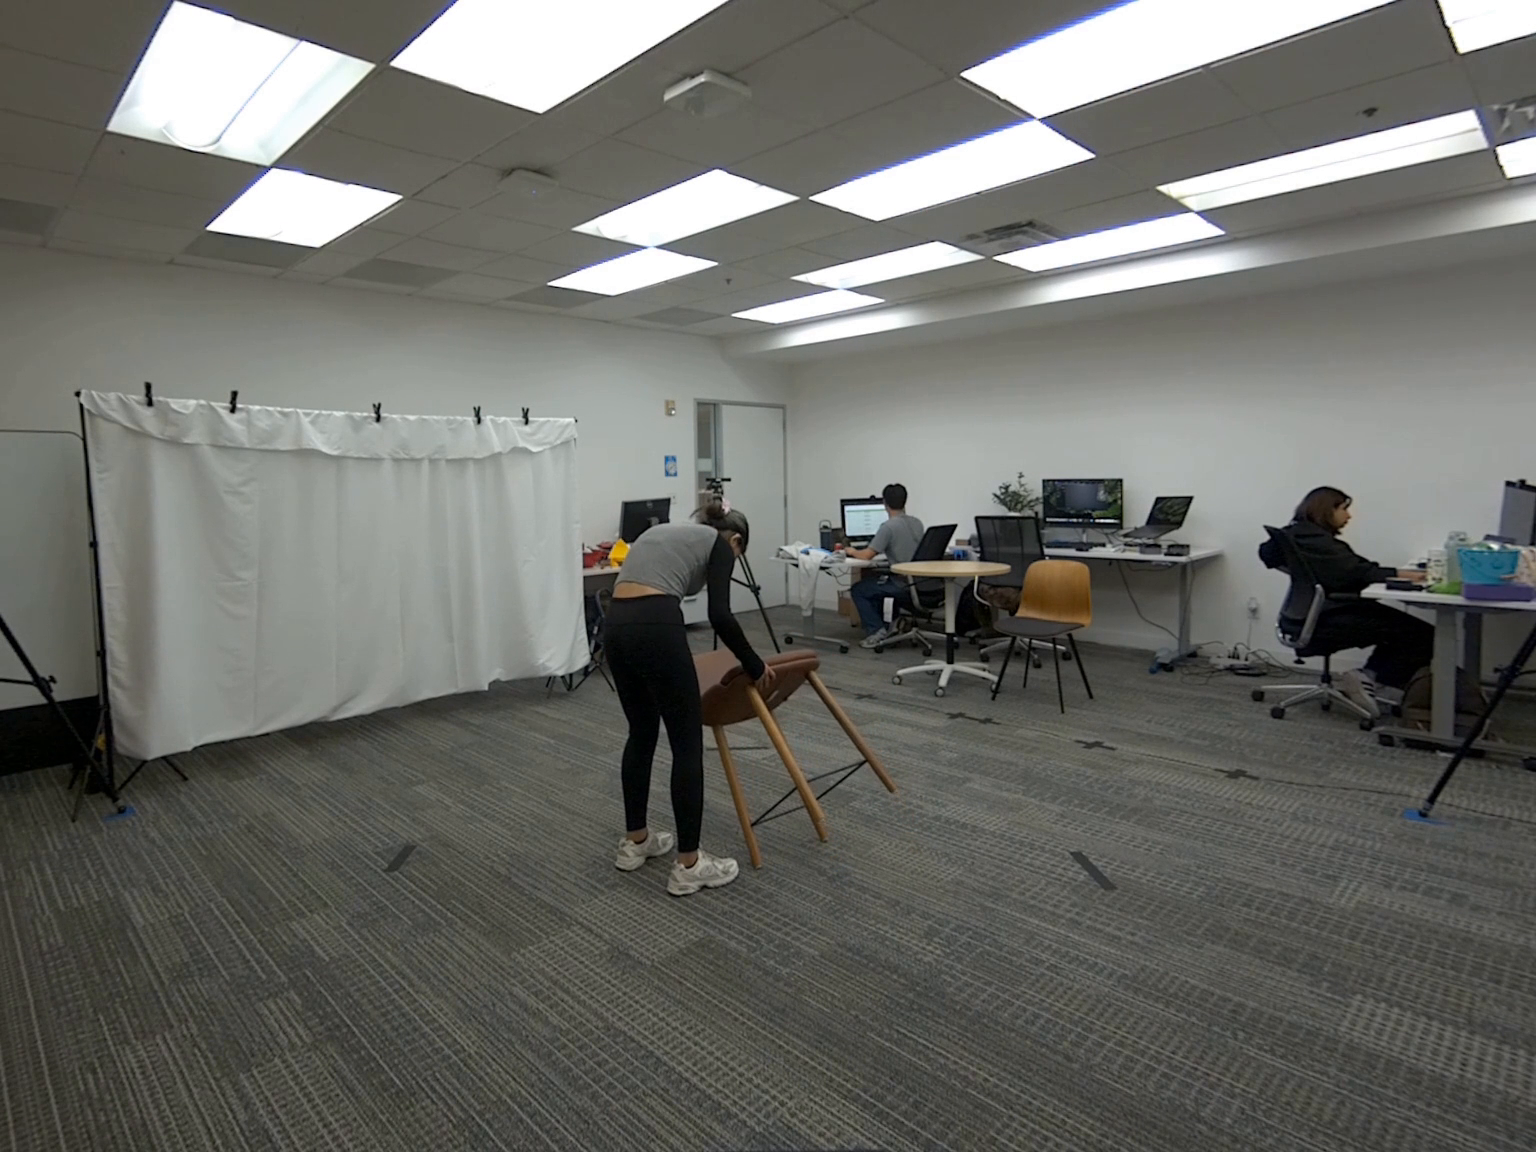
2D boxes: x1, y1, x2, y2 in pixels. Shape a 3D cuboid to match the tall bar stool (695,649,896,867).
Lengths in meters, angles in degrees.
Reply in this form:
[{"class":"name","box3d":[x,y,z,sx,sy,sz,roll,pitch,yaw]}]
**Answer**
[{"class":"tall bar stool","box3d":[0.007,0.556,3.240,0.444,0.917,0.466,-5,-36,-41]}]
